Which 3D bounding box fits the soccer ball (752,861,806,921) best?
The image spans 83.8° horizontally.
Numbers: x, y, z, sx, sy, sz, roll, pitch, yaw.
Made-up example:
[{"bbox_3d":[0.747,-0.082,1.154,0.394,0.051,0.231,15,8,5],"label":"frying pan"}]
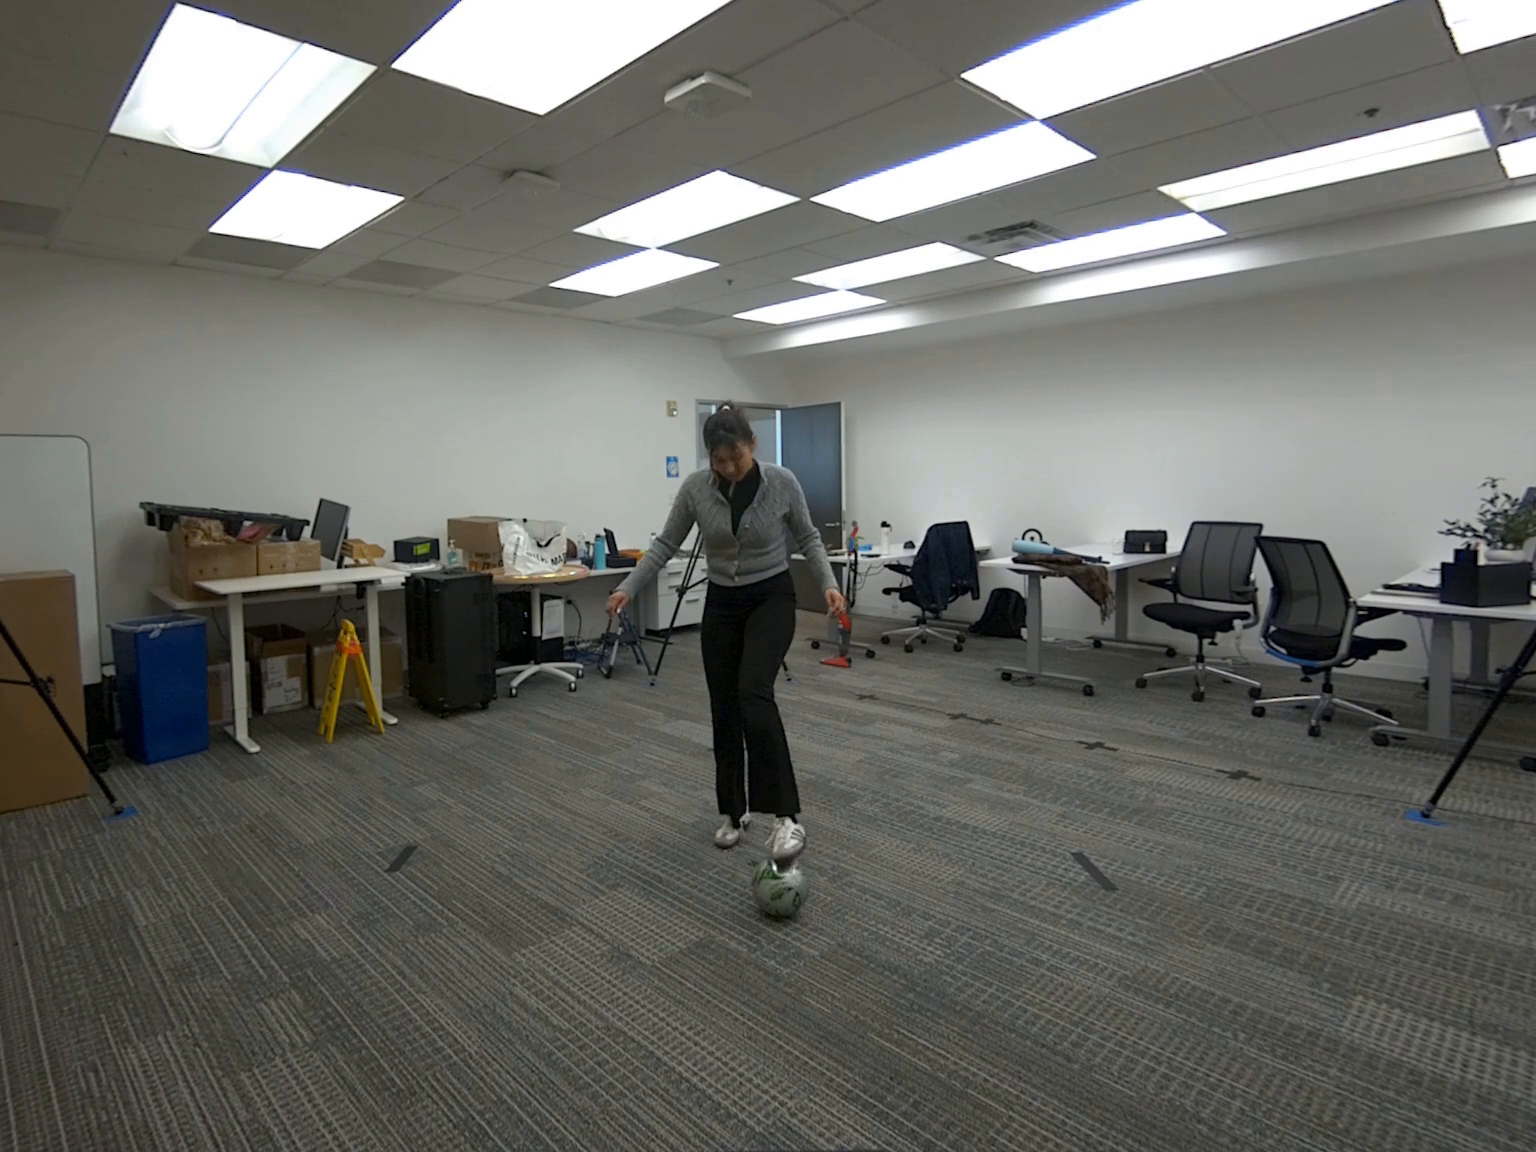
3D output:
[{"bbox_3d":[0.011,0.991,2.773,0.187,0.187,0.188,-1,5,-2],"label":"soccer ball"}]
